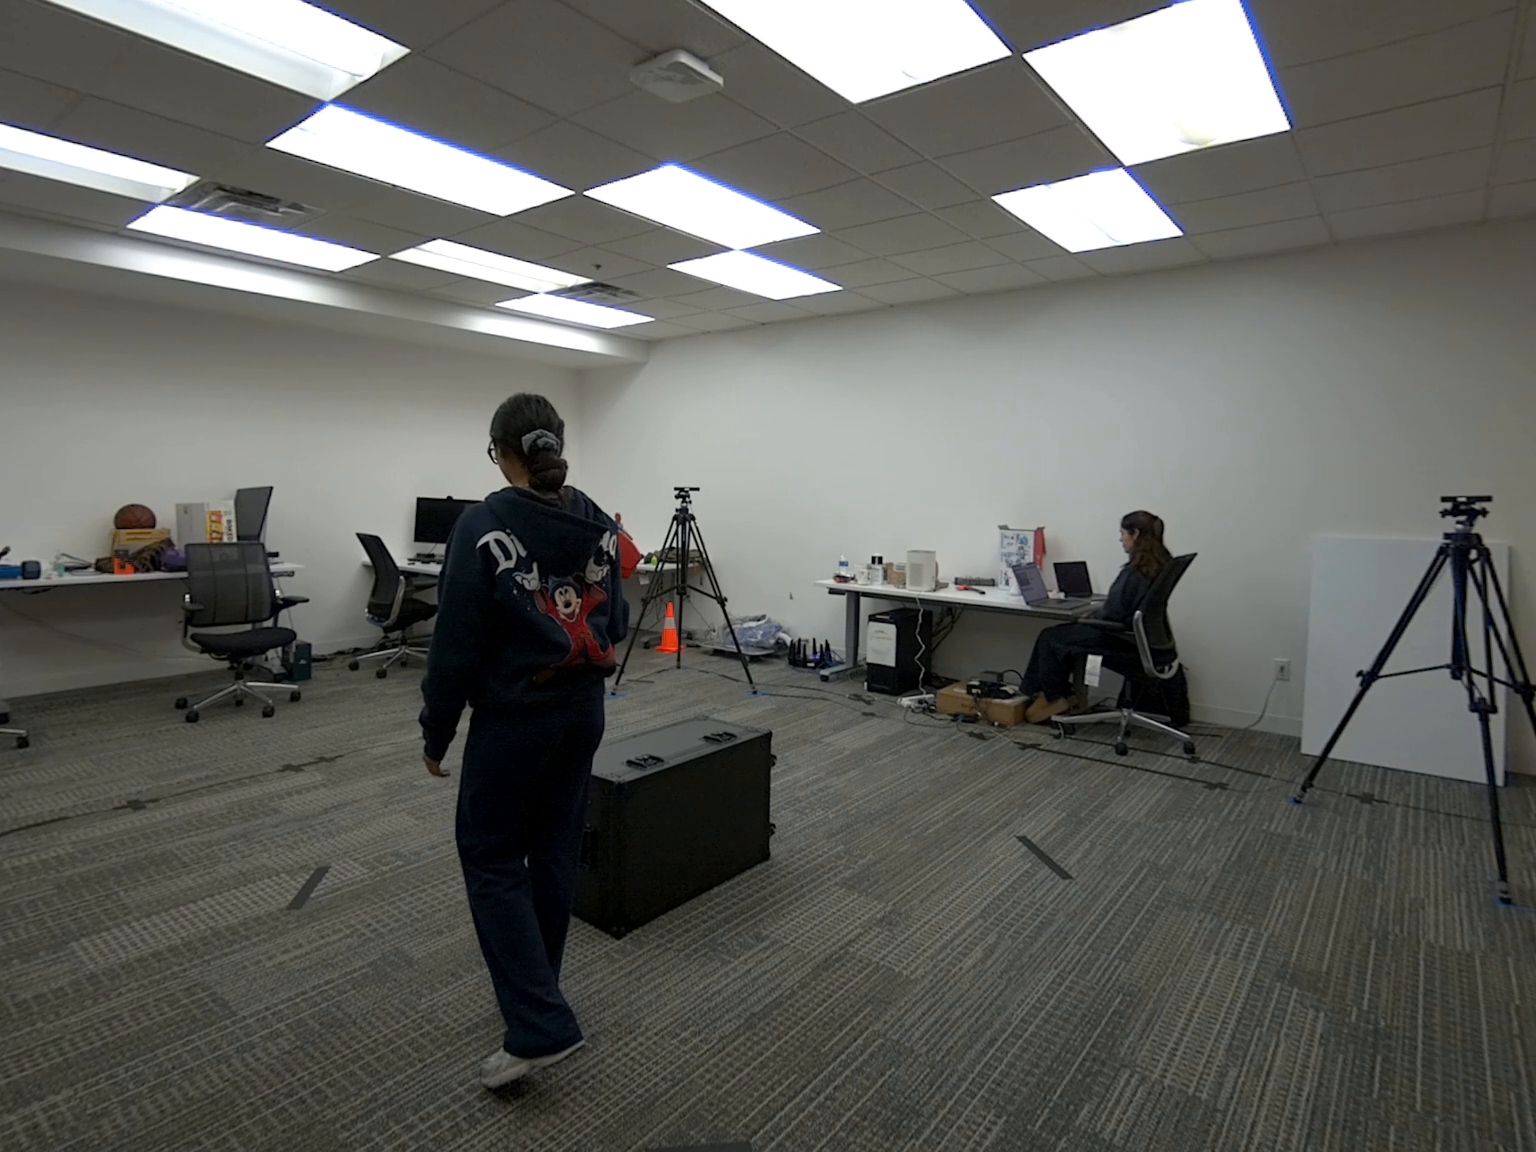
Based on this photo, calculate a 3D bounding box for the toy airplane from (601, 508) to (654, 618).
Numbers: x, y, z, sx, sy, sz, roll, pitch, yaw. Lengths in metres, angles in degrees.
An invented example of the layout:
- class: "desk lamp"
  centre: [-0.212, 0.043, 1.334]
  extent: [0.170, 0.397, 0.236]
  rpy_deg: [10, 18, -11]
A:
- class: "toy airplane"
  centre: [-0.503, -0.050, 2.540]
  extent: [0.246, 0.266, 0.156]
  rpy_deg: [15, -38, -17]
